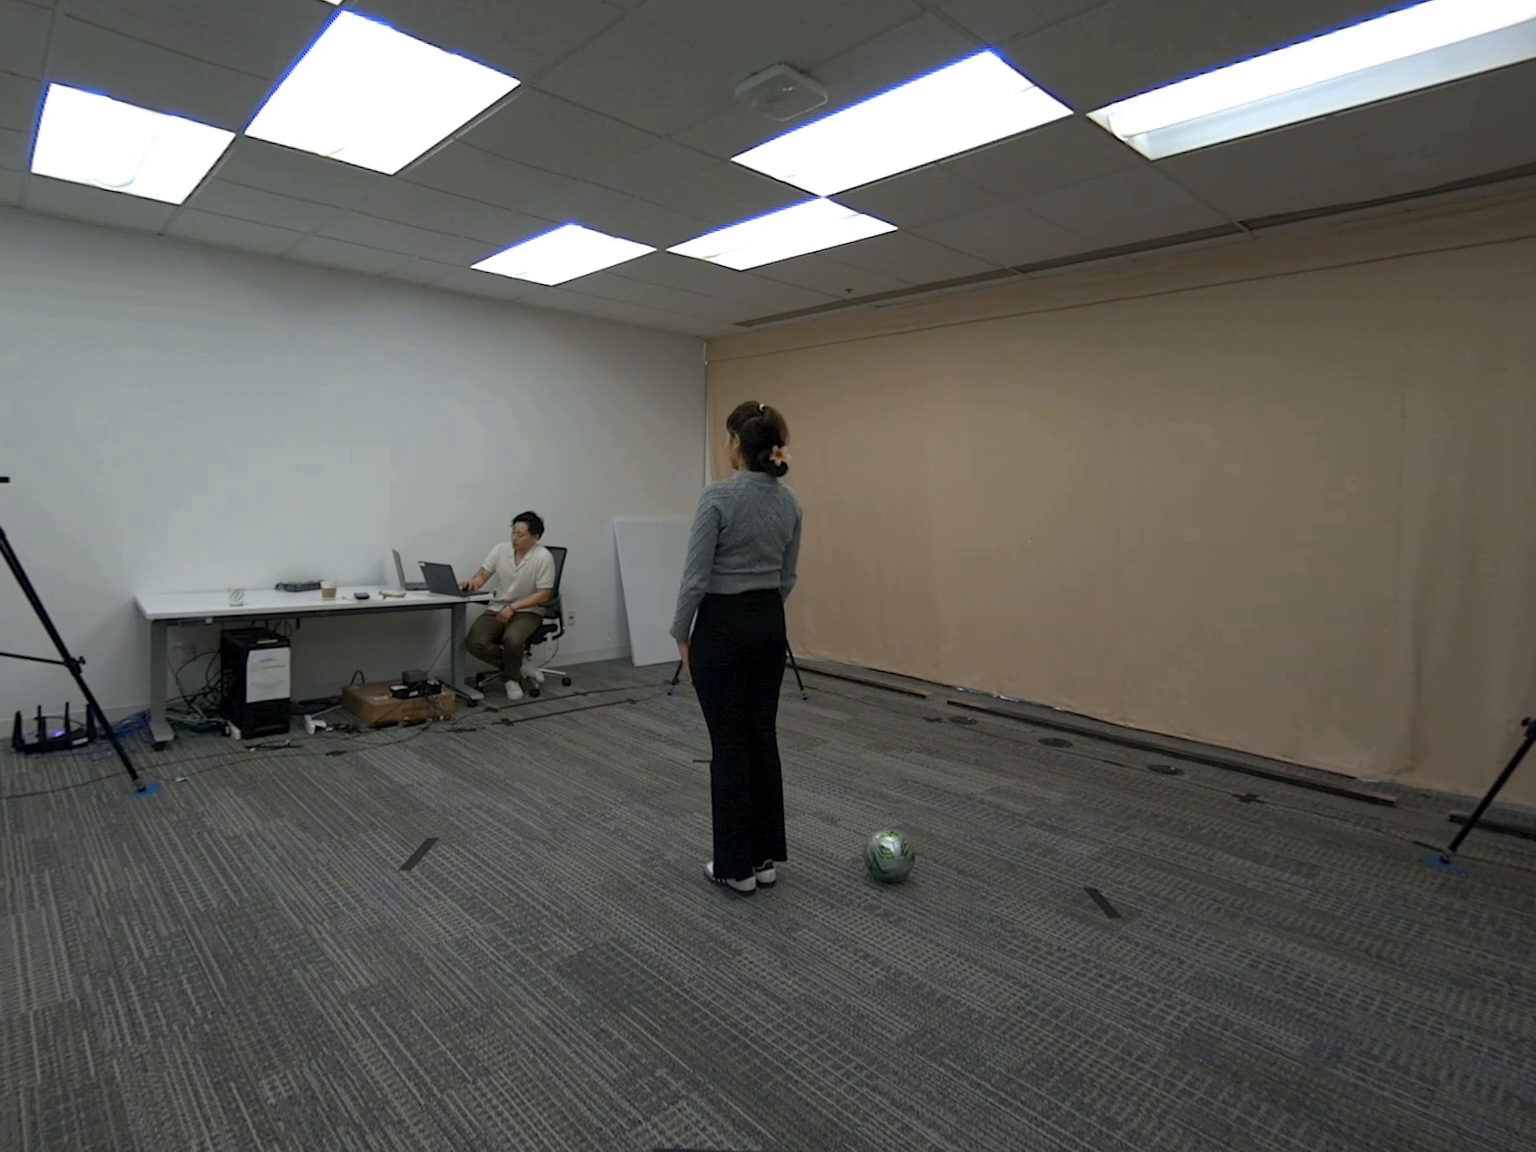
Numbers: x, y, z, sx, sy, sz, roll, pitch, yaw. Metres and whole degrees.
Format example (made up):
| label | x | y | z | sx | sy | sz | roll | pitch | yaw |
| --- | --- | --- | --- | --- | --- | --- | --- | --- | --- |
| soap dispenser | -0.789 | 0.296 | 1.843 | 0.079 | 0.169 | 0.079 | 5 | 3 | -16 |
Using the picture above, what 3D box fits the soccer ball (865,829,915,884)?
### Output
| label | x | y | z | sx | sy | sz | roll | pitch | yaw |
| --- | --- | --- | --- | --- | --- | --- | --- | --- | --- |
| soccer ball | 0.428 | 1.021 | 3.089 | 0.187 | 0.187 | 0.188 | 1 | 4 | -1 |
